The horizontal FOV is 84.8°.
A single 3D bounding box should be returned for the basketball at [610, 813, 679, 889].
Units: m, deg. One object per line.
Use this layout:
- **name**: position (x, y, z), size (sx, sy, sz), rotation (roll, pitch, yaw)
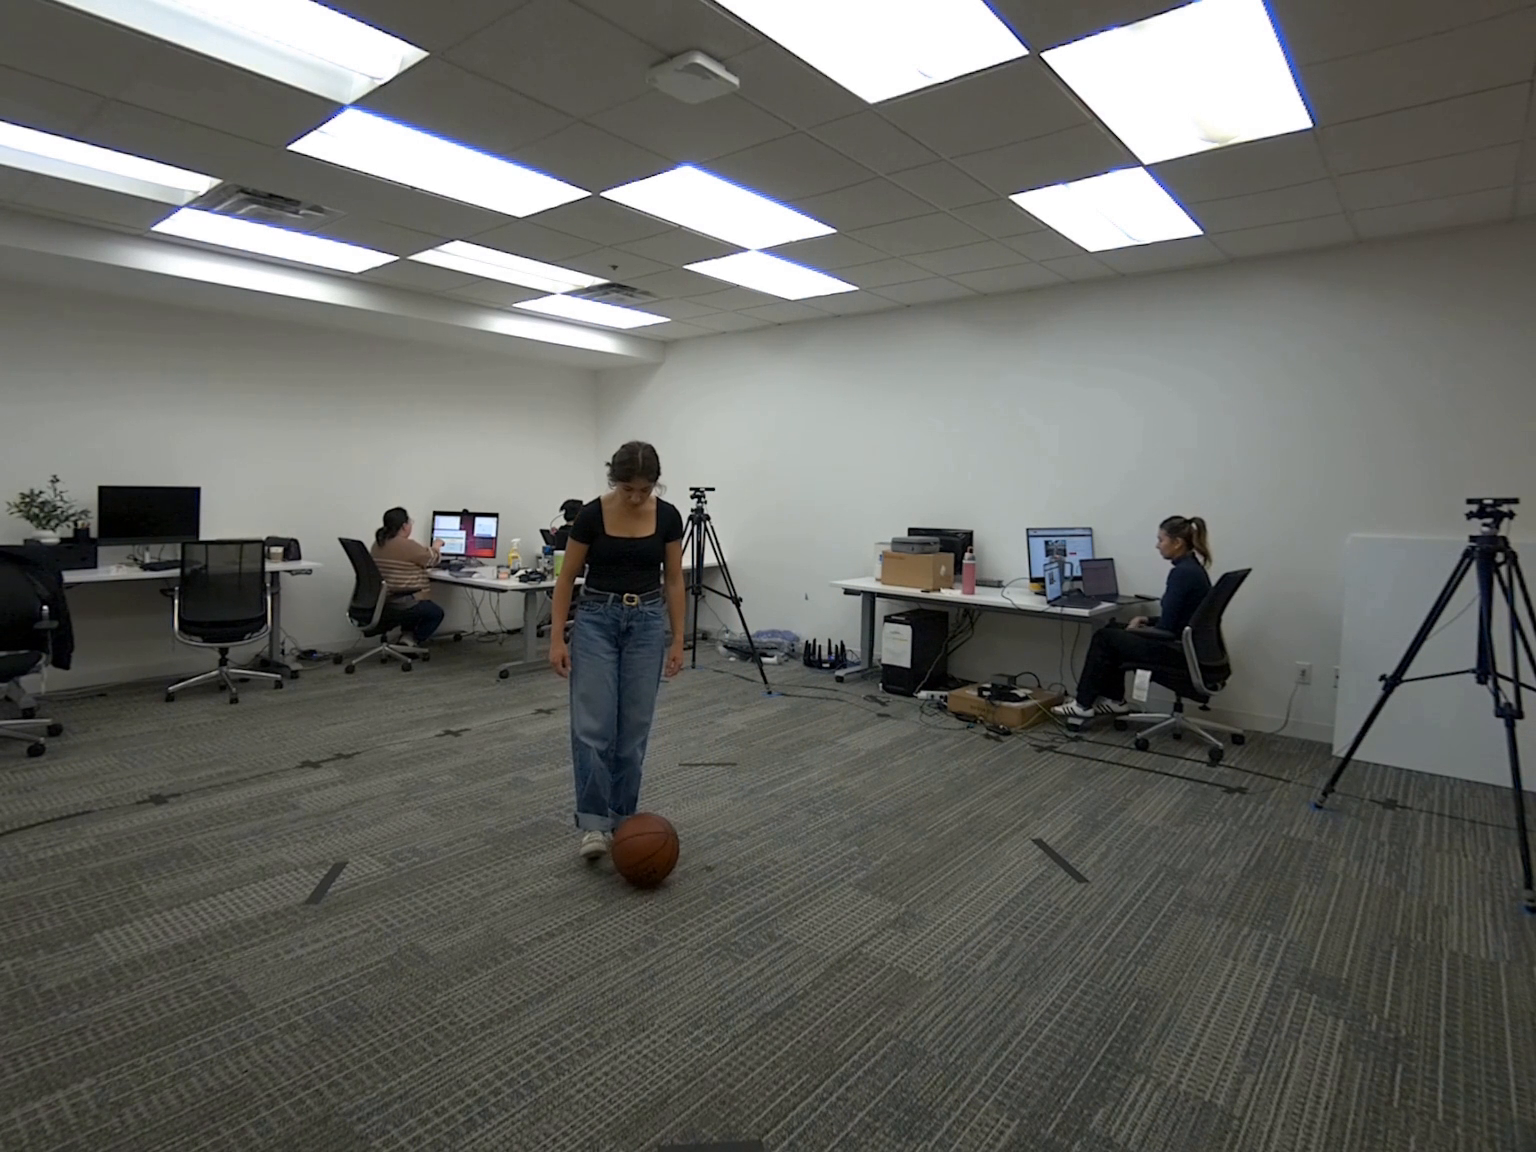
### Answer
- **basketball**: position (-0.441, 0.954, 2.984), size (0.235, 0.235, 0.237), rotation (1, 4, -2)
